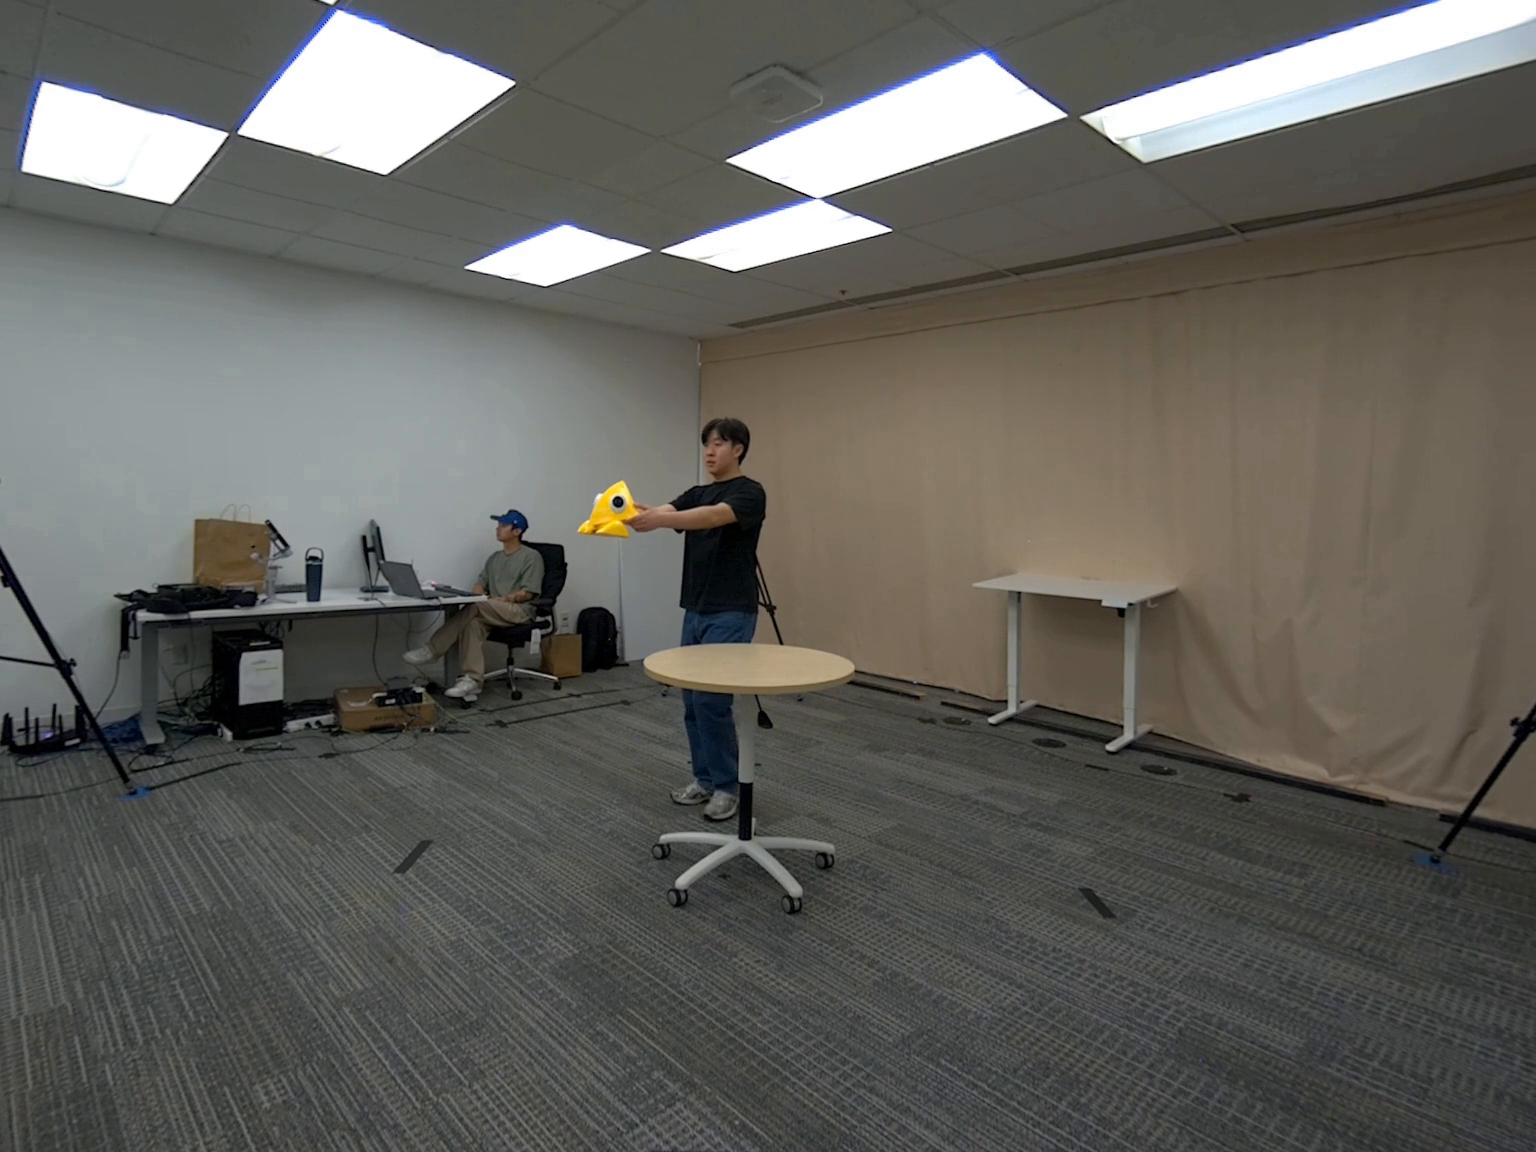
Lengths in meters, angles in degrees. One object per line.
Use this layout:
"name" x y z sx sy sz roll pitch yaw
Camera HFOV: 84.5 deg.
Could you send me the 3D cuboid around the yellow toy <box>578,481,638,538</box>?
"yellow toy" -0.646 -0.275 3.352 0.210 0.231 0.188 4 -2 39
